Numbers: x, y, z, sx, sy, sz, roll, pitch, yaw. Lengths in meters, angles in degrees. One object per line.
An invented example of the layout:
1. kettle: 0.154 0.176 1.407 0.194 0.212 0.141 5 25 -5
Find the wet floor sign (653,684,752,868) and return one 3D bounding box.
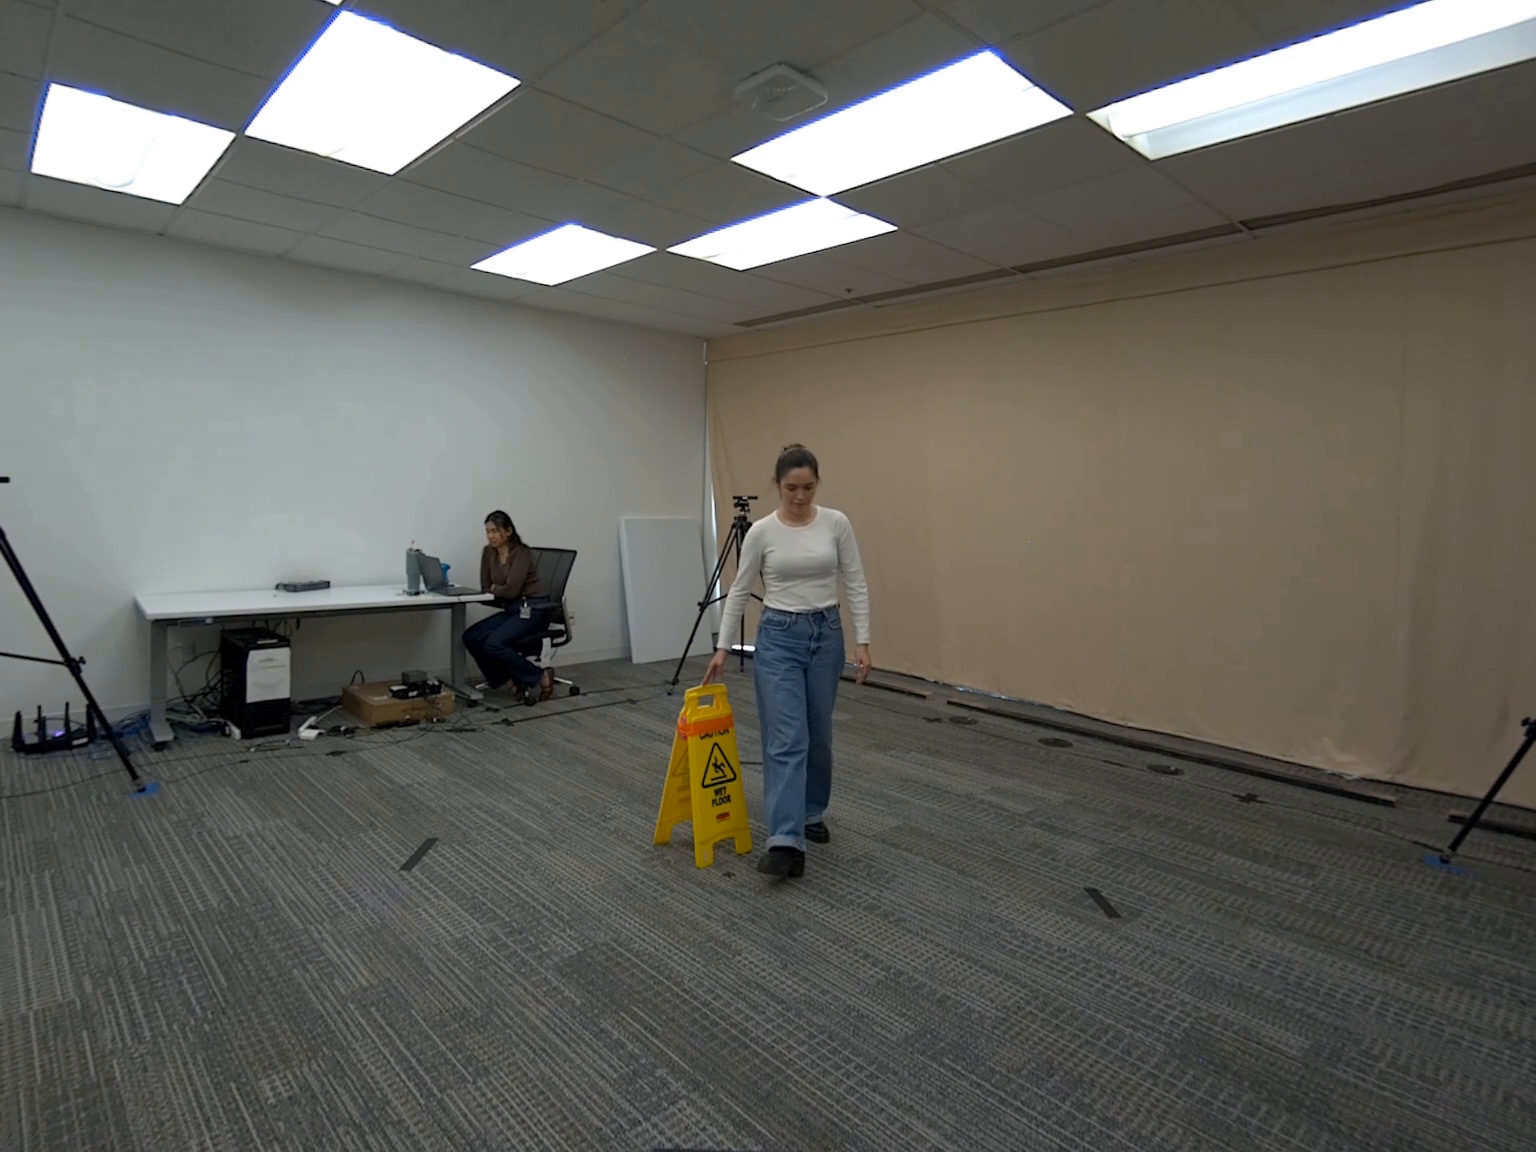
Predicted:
1. wet floor sign: -0.262 0.754 3.323 0.276 0.645 0.297 -1 4 -43
